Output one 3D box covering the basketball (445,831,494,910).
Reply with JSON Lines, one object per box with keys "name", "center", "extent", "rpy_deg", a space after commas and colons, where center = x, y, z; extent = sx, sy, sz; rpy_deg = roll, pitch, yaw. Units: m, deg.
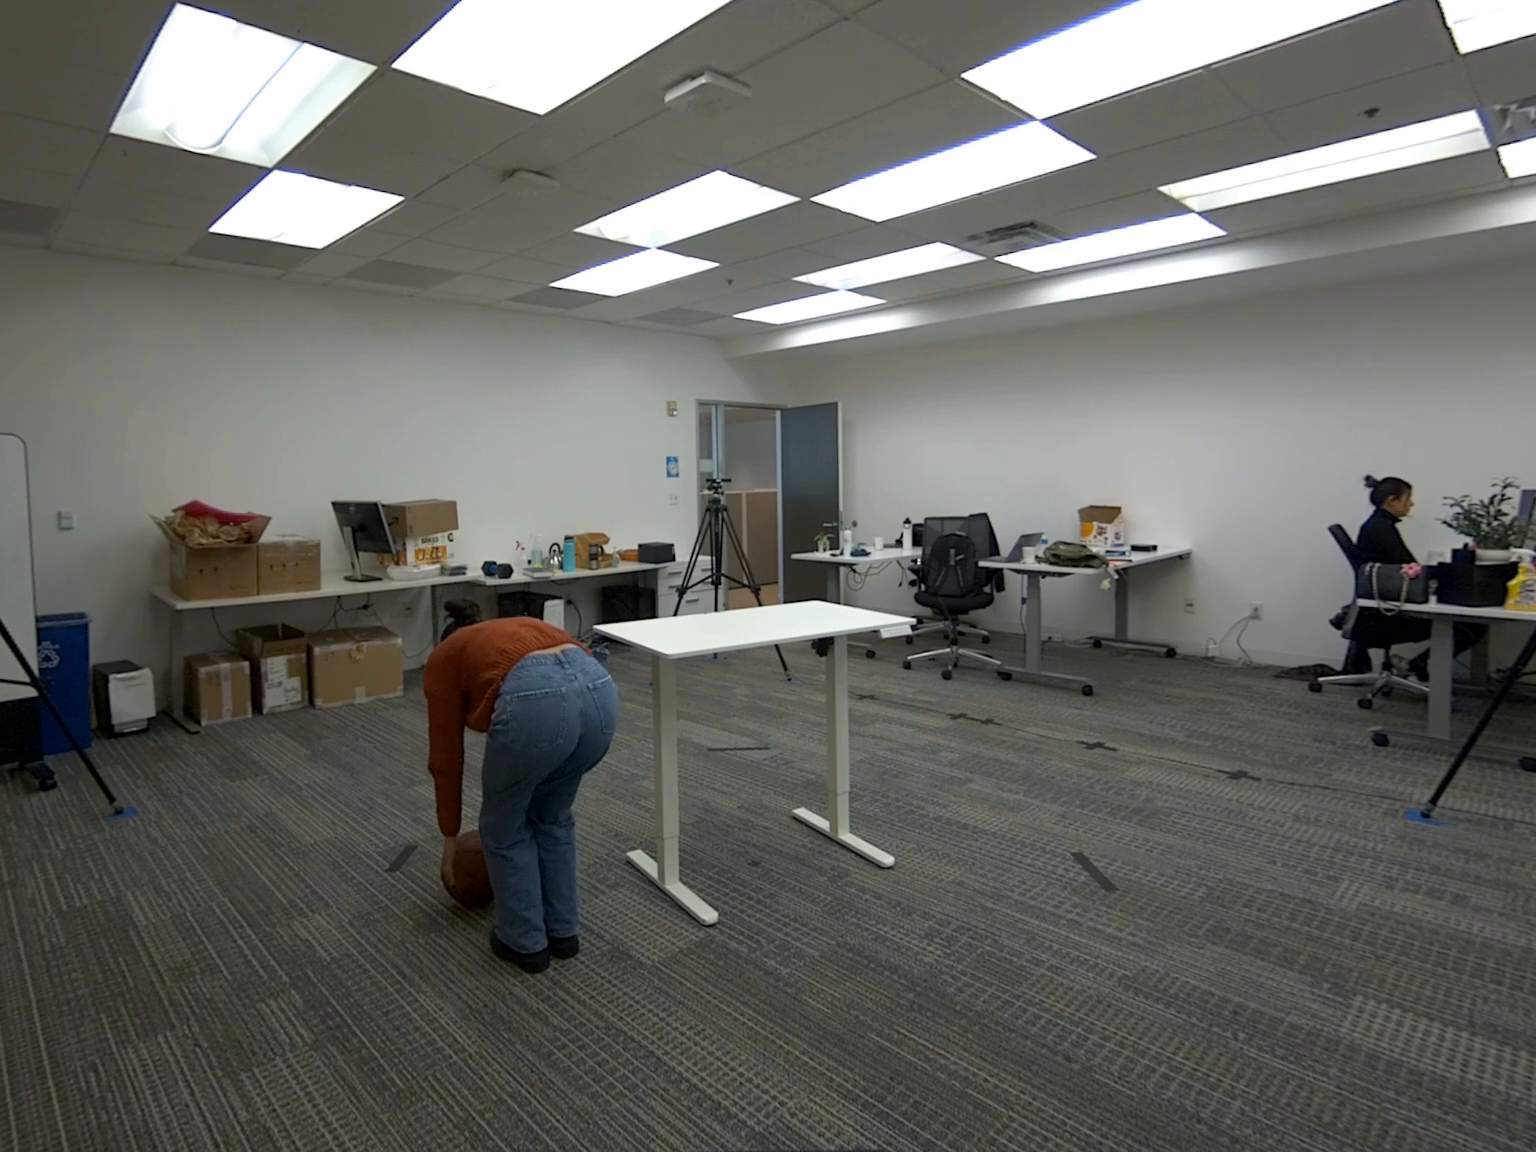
{"name": "basketball", "center": [-0.968, 0.969, 2.863], "extent": [0.236, 0.235, 0.237], "rpy_deg": [-1, 5, -2]}
